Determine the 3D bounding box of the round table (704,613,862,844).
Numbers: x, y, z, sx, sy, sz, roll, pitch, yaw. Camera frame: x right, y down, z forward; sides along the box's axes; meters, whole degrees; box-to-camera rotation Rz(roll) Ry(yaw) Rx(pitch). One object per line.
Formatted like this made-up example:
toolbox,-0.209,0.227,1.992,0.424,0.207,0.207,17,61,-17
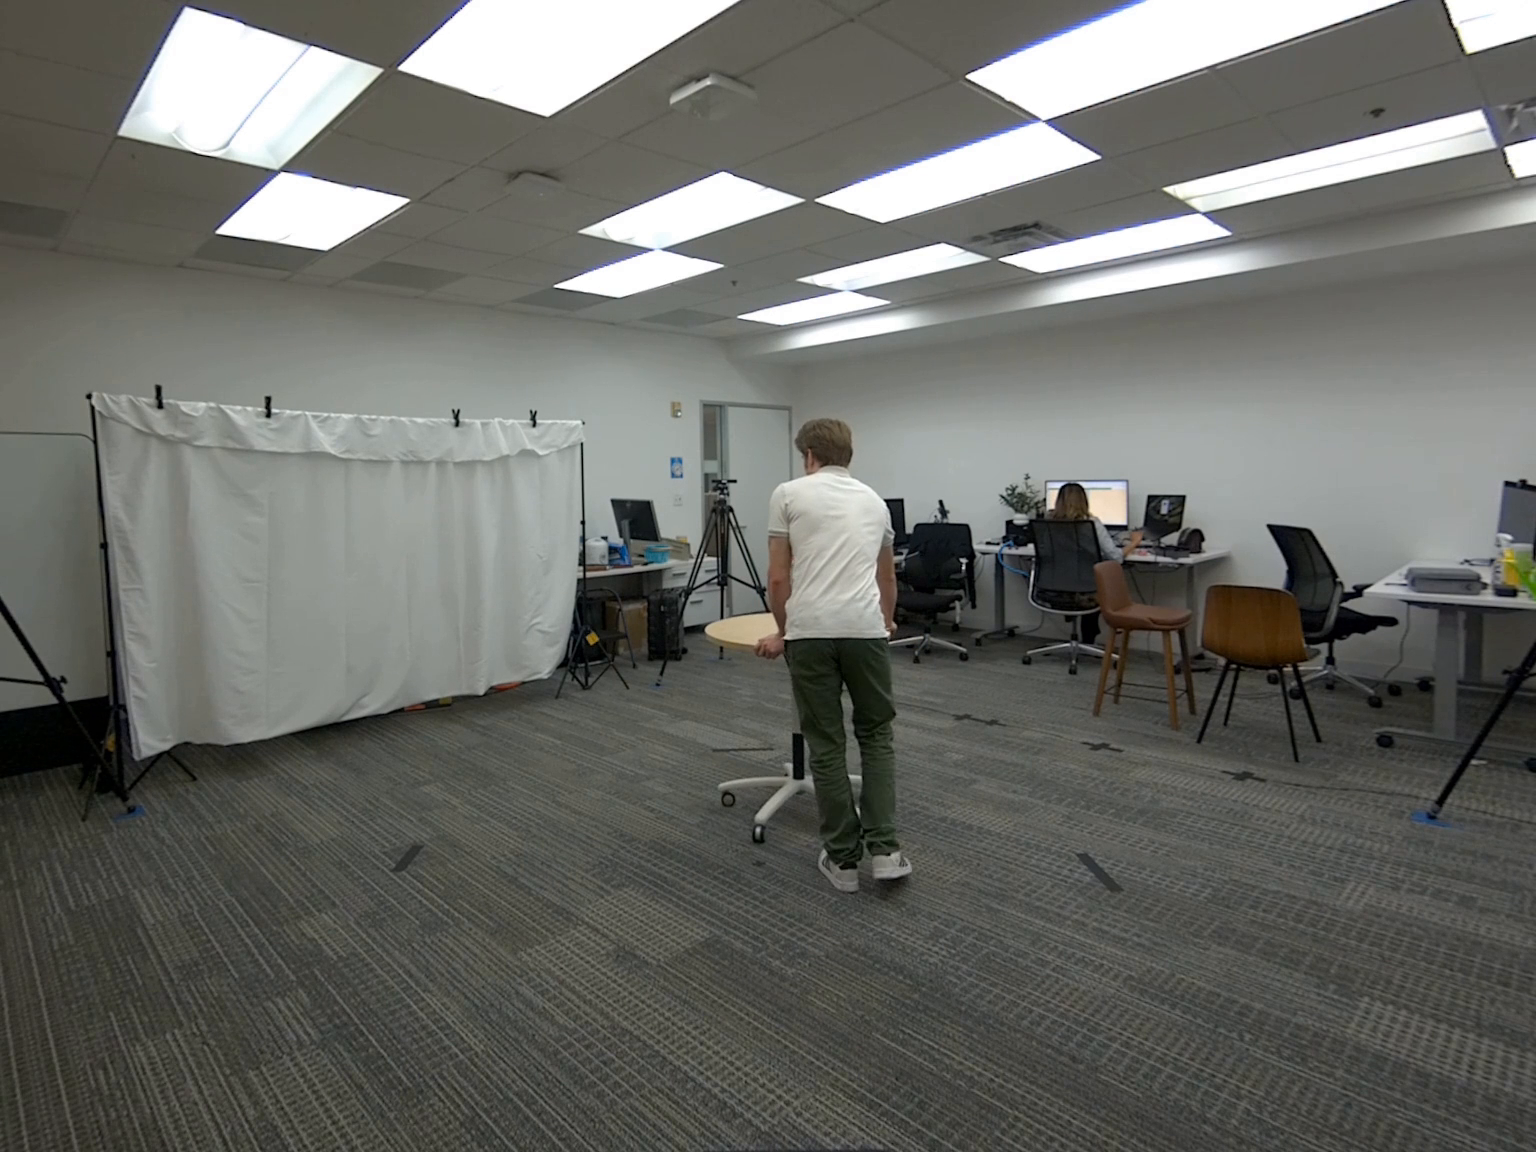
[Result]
round table,0.123,0.606,3.579,0.763,0.791,0.768,-1,5,-2
